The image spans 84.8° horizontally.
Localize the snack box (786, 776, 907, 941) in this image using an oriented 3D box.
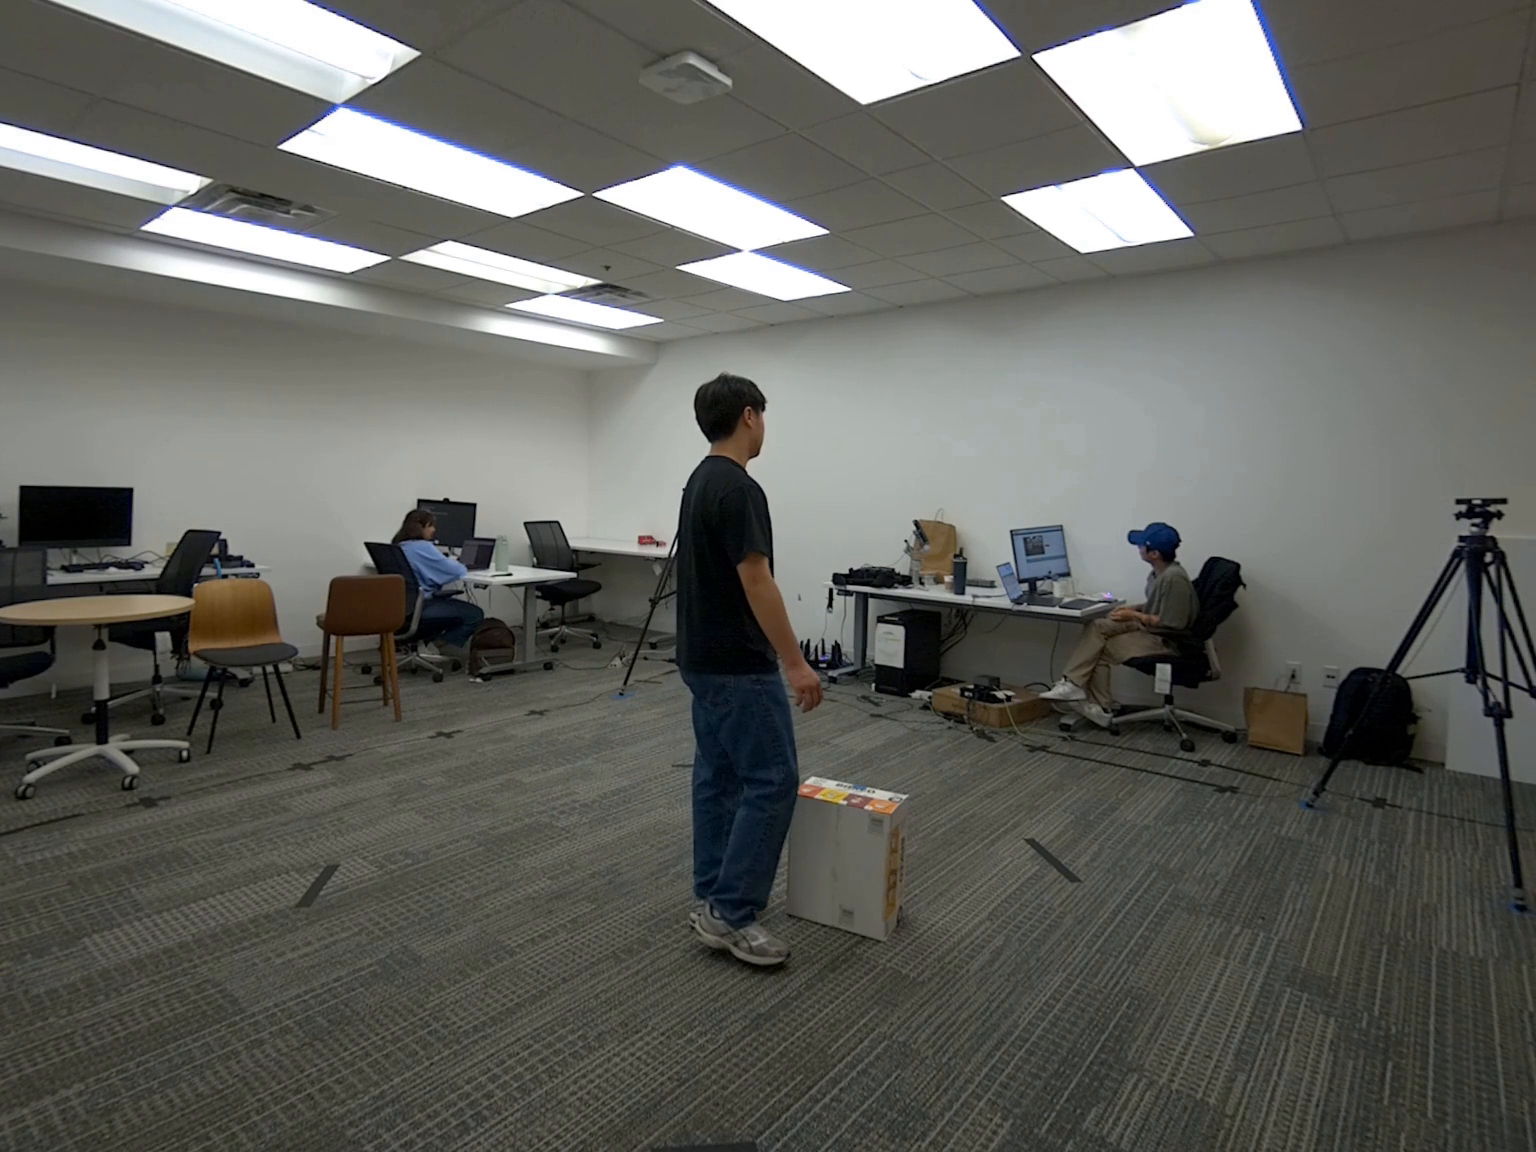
[{"bbox_3d":[0.252,0.910,2.782,0.350,0.404,0.200,4,3,27],"label":"snack box"}]
